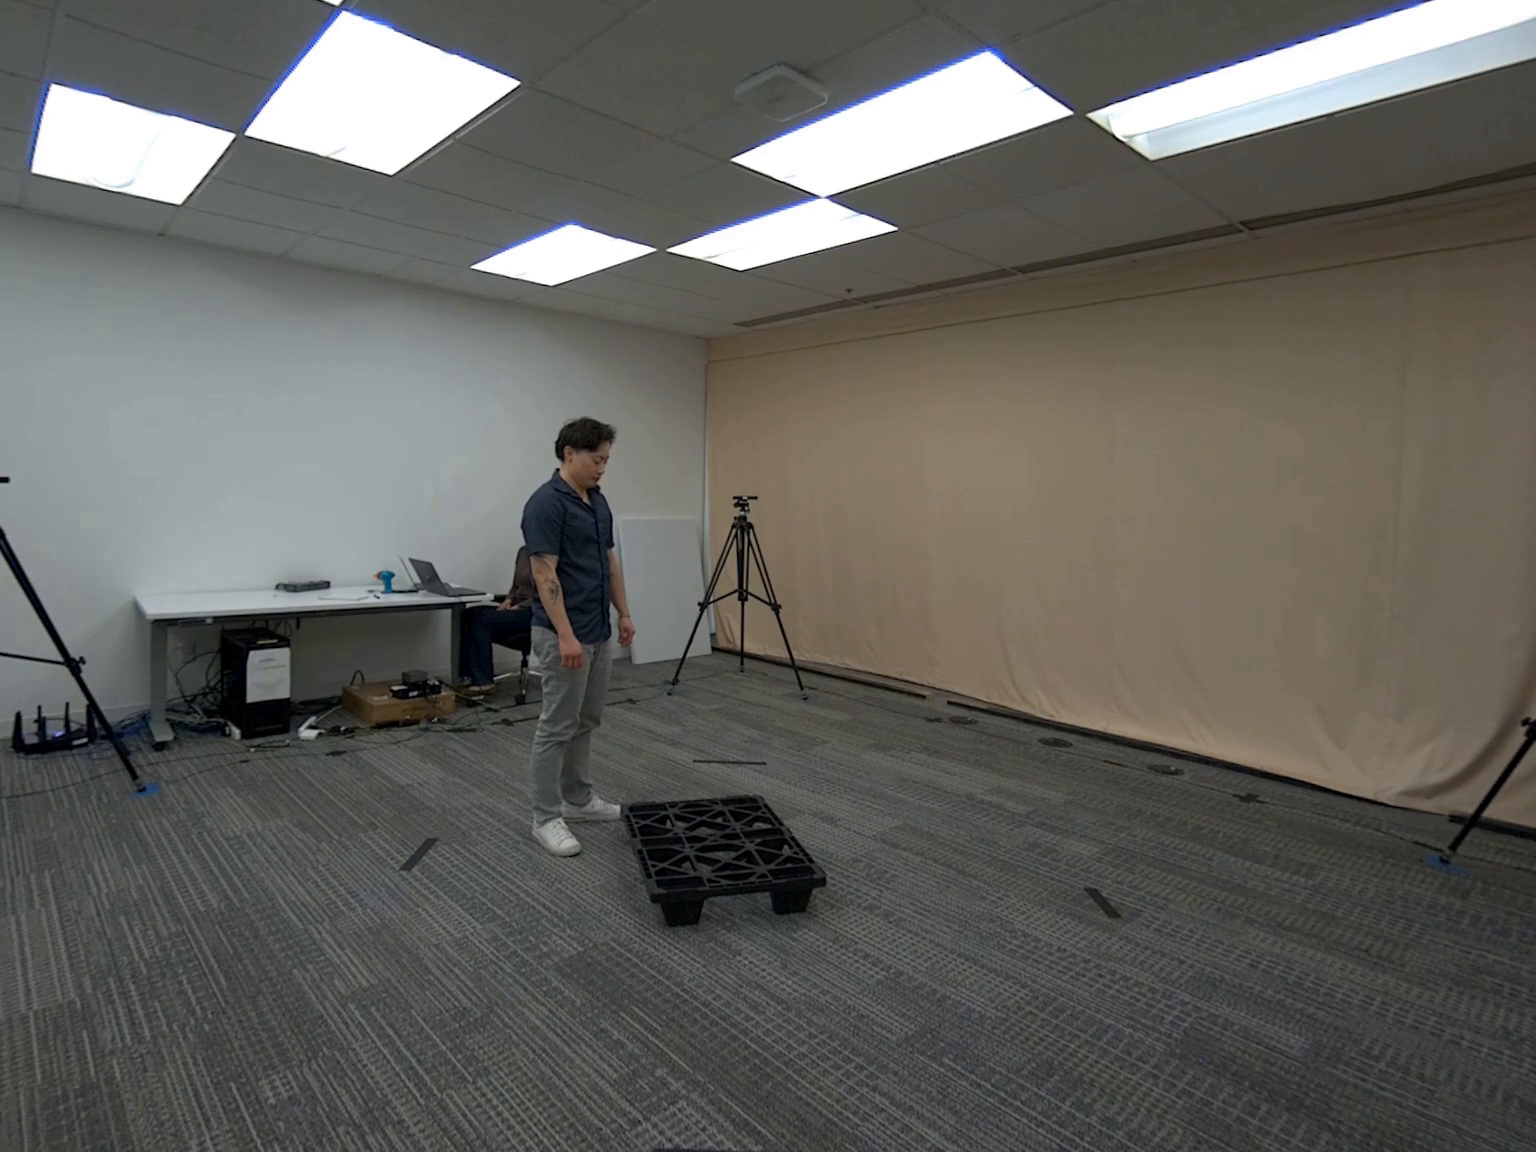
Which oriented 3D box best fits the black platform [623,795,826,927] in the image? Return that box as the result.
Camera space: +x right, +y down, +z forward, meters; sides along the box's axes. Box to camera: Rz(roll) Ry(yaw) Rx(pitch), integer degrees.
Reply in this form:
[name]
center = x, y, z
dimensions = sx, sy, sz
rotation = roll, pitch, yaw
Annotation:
[black platform]
center = -0.207, 1.031, 3.123
dimensions = 0.597, 0.143, 0.818
rotation = 0, 6, -17
